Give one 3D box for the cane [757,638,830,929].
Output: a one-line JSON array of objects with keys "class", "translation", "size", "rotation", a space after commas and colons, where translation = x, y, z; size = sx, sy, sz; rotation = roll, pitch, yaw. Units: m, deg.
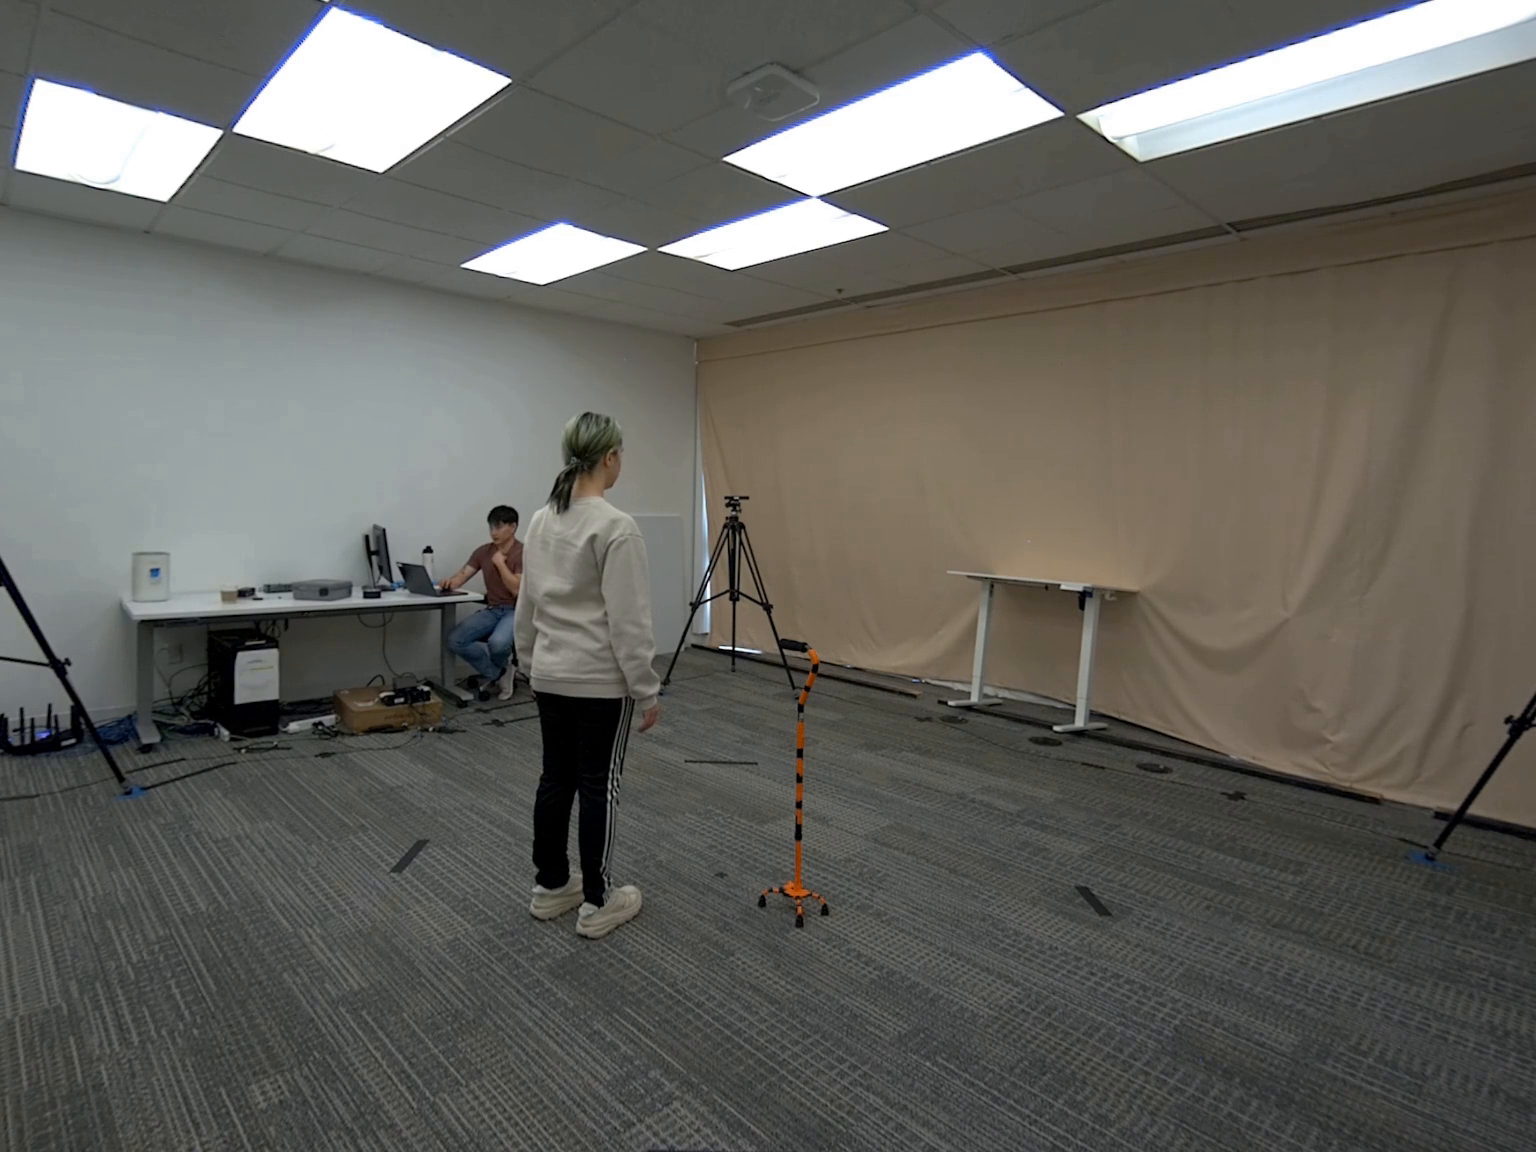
[{"class": "cane", "translation": [0.089, 0.679, 2.835], "size": [0.148, 0.906, 0.211], "rotation": [0, 3, -42]}]
